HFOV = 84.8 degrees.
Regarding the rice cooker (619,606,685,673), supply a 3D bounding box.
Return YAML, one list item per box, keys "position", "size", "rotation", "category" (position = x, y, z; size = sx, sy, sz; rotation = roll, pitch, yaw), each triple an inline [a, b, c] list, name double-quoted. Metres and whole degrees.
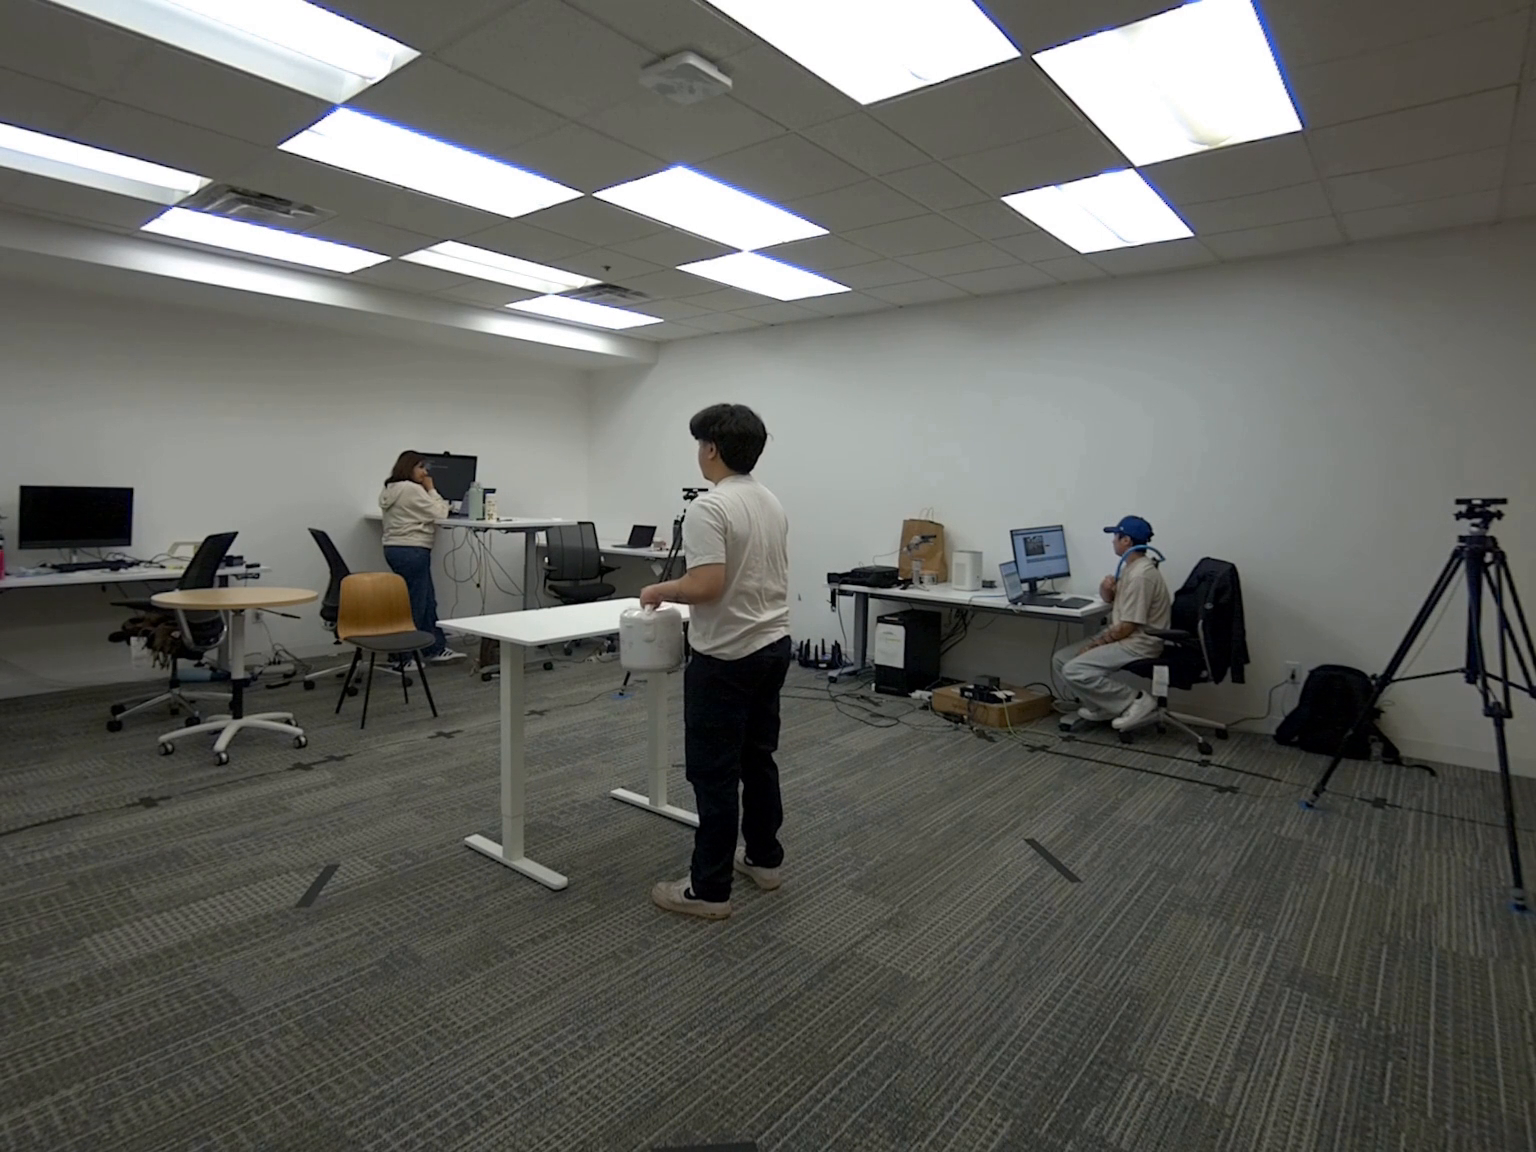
- position: [-0.403, 0.203, 2.886]
  size: [0.218, 0.232, 0.221]
  rotation: [-1, 4, 0]
  category: "rice cooker"
